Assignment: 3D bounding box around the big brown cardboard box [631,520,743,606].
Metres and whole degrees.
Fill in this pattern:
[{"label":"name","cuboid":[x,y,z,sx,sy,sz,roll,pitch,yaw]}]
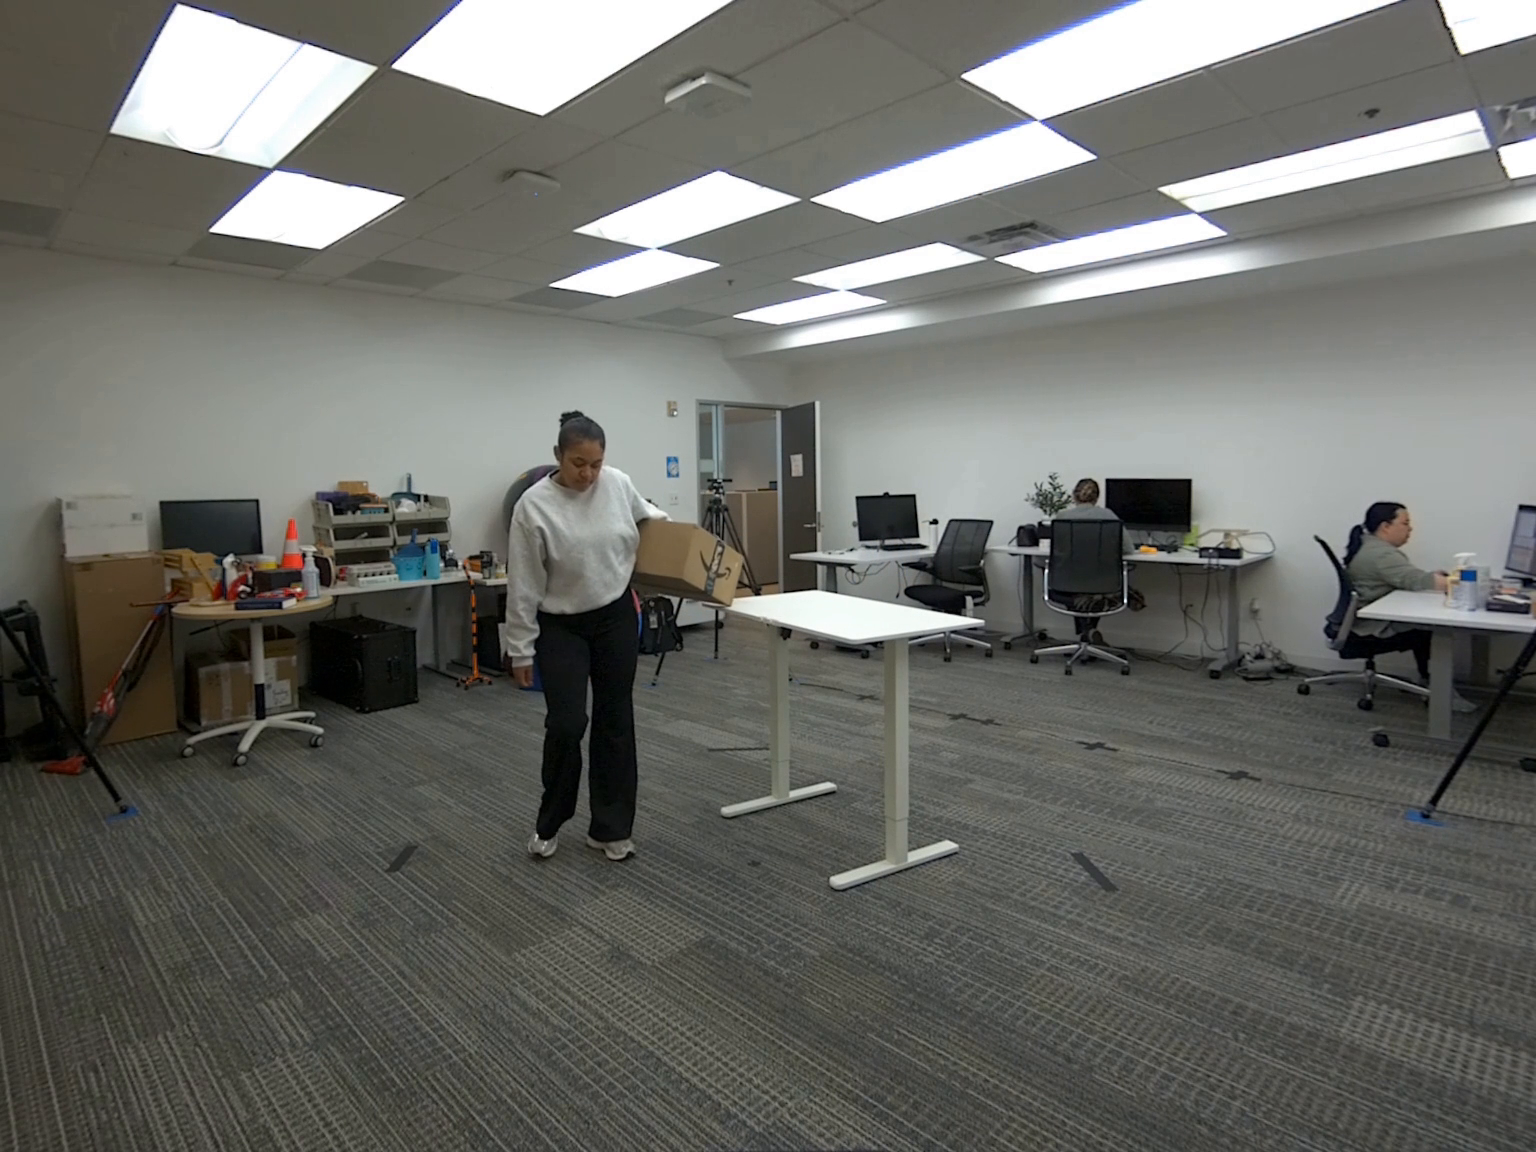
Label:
[{"label":"big brown cardboard box","cuboid":[-0.456,-0.069,3.440,0.605,0.235,0.403,7,-13,28]}]
